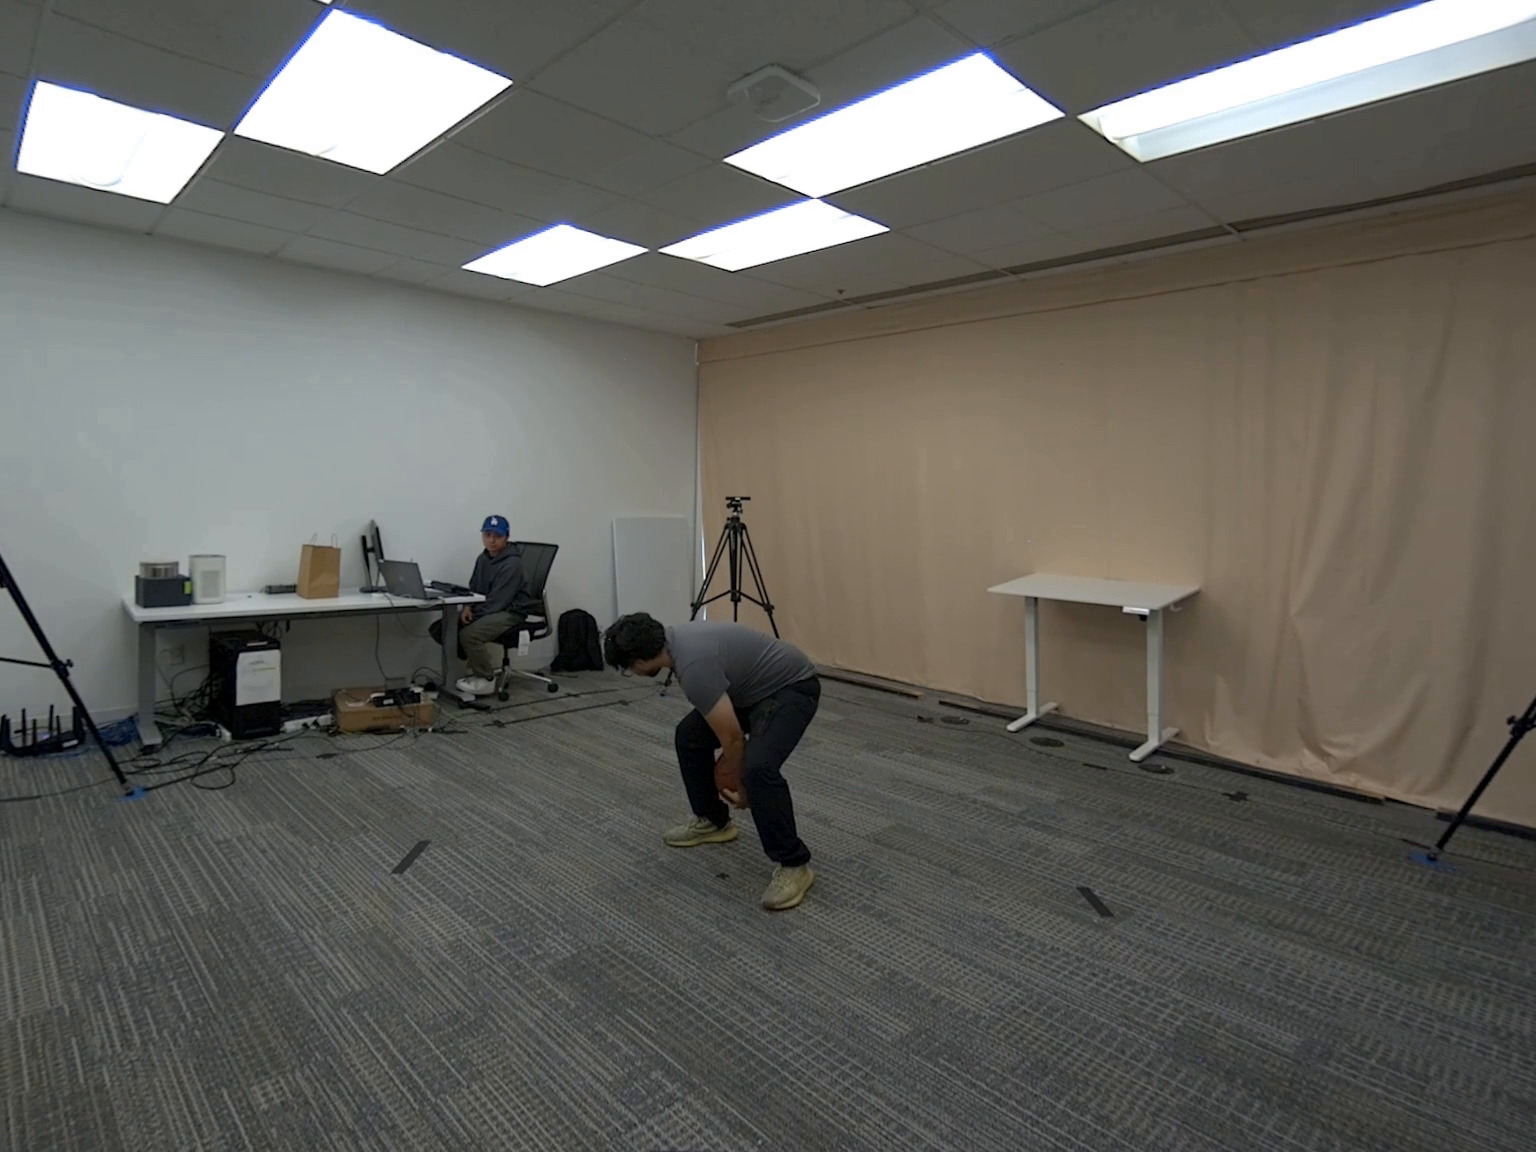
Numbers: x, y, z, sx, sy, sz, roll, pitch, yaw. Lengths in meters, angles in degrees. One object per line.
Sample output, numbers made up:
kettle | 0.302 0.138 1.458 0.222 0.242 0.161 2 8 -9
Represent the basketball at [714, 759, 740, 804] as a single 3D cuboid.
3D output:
basketball | -0.098 0.786 3.317 0.236 0.235 0.237 1 4 -1
